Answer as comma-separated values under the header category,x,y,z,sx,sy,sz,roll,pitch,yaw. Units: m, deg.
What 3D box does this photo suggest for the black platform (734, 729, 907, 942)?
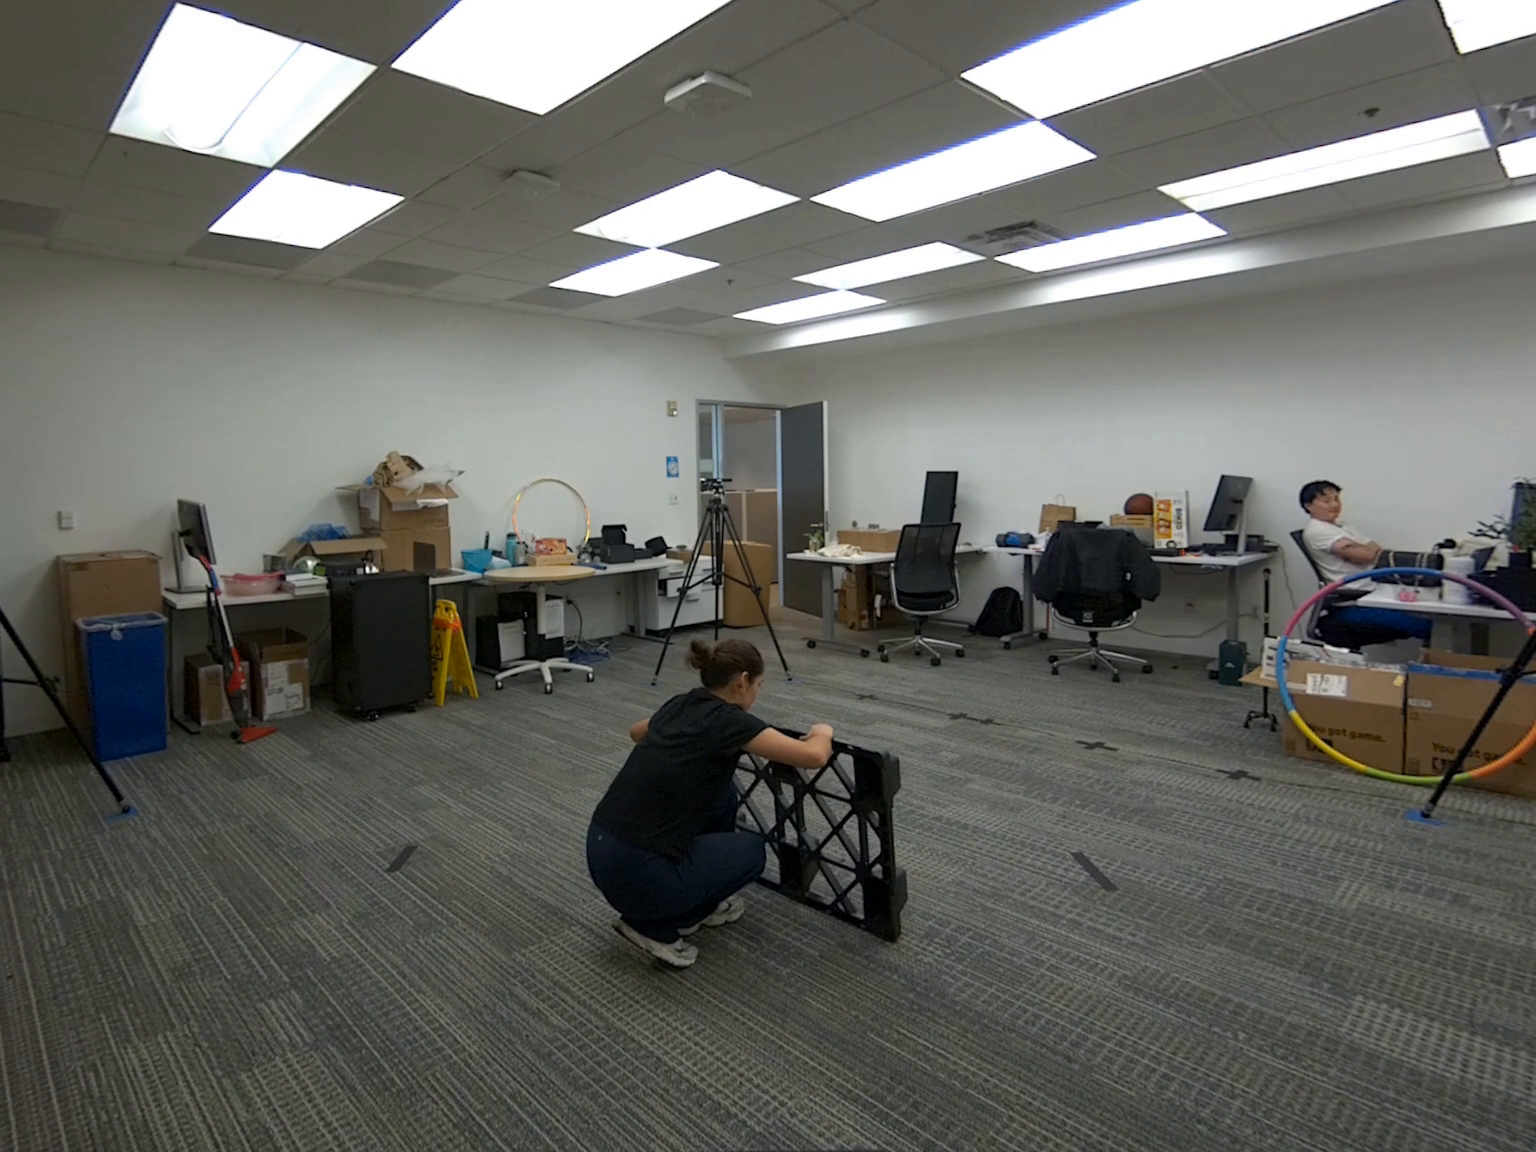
category,x,y,z,sx,sy,sz,roll,pitch,yaw
black platform,0.102,0.767,2.849,0.831,0.600,0.140,5,12,43
